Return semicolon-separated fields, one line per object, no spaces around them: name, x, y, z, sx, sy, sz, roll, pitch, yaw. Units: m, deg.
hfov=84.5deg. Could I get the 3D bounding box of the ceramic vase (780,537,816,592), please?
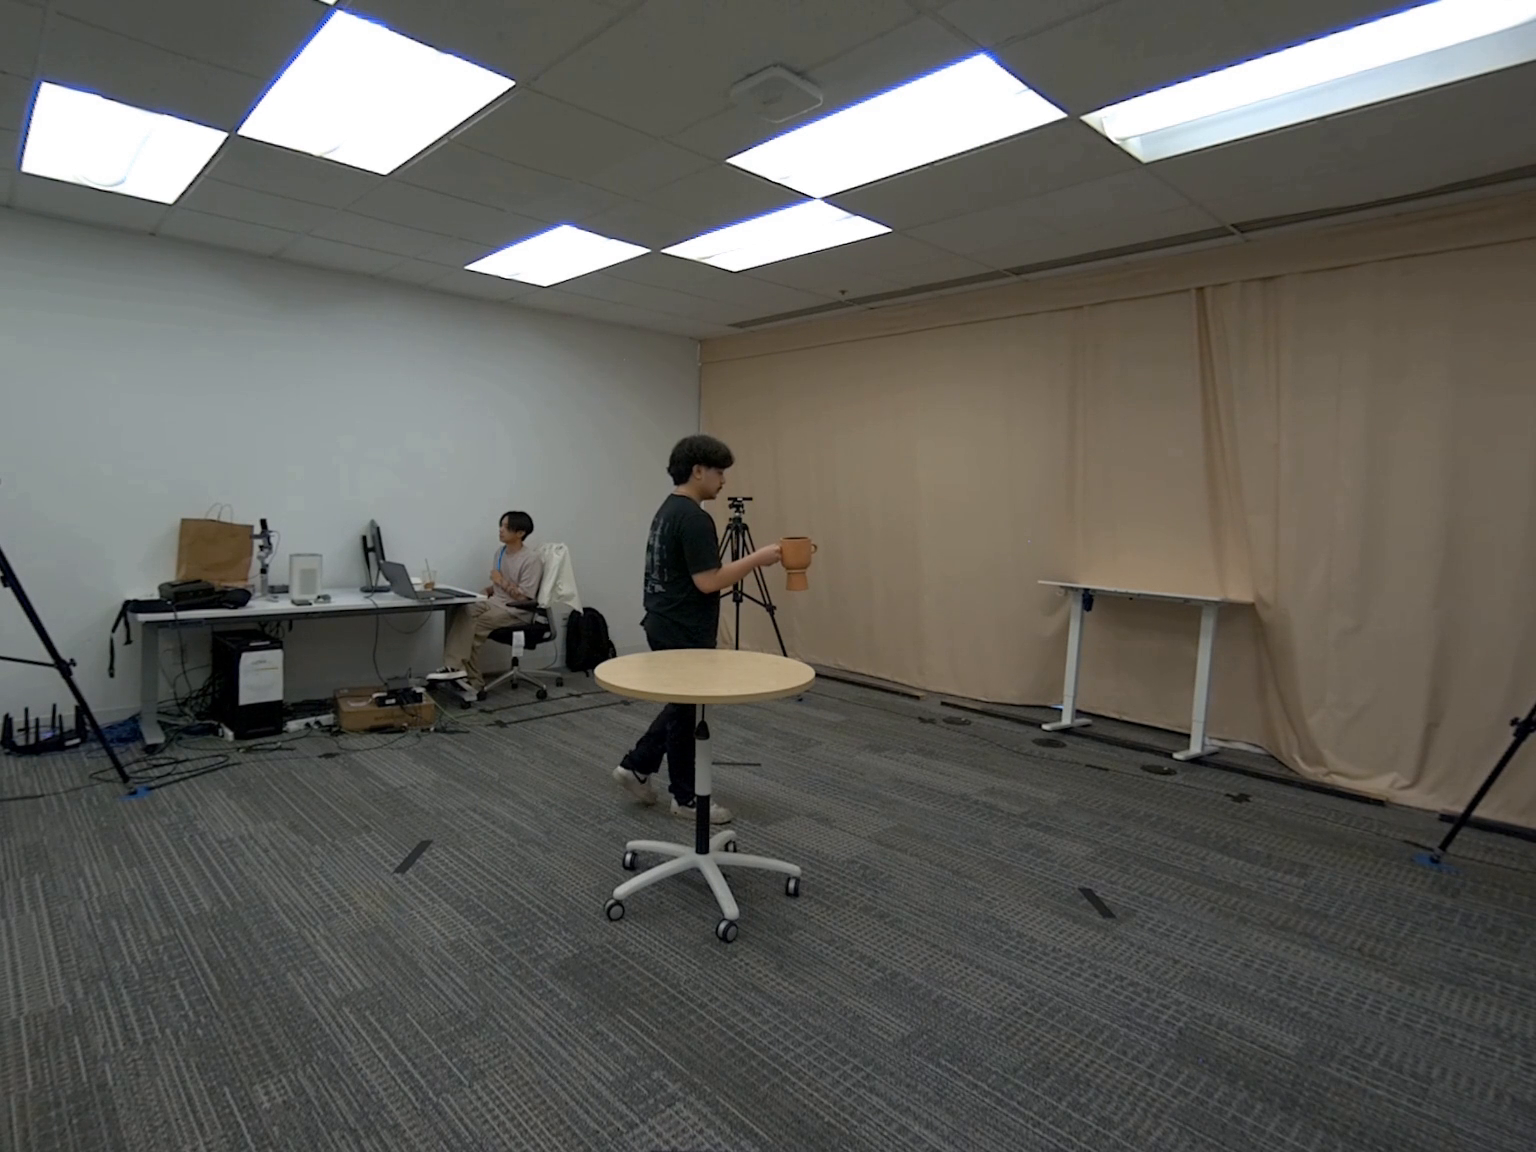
ceramic vase;0.103;-0.056;3.610;0.161;0.219;0.133;2;7;21
